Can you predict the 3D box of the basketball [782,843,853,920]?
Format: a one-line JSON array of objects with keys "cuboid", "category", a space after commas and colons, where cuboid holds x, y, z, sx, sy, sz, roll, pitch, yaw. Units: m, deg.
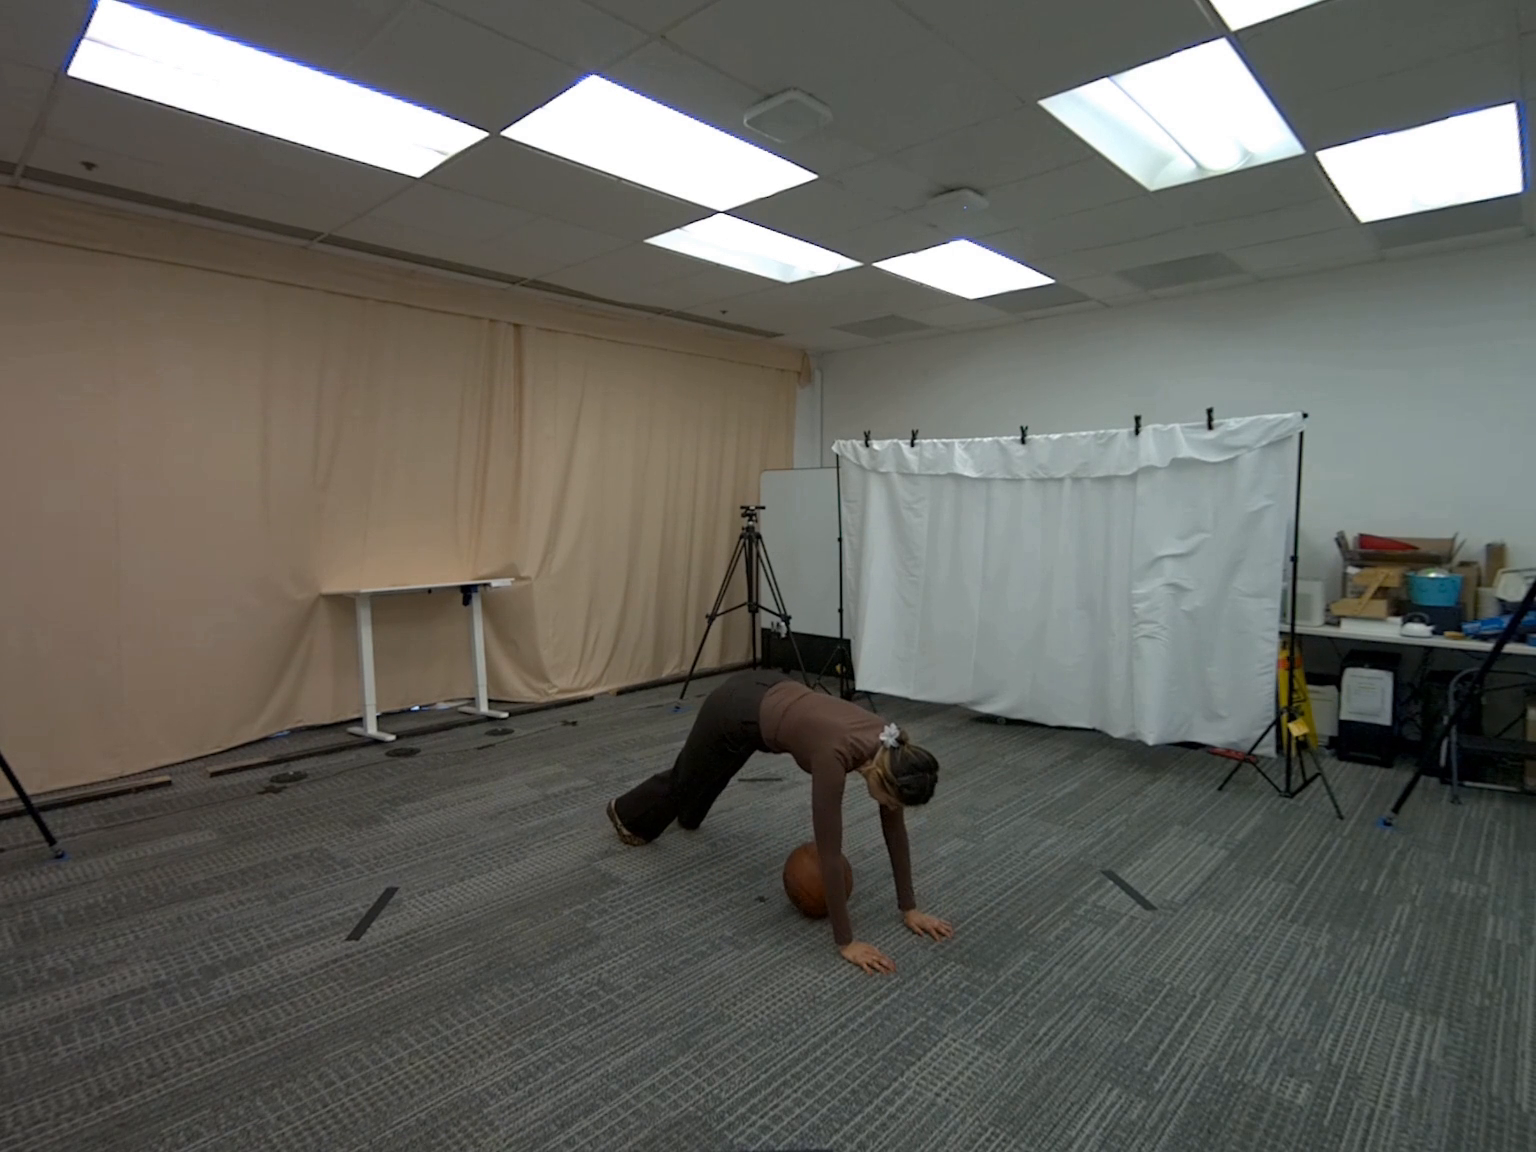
[{"cuboid": [0.174, 1.031, 2.880, 0.236, 0.235, 0.237, 0, 4, -2], "category": "basketball"}]
